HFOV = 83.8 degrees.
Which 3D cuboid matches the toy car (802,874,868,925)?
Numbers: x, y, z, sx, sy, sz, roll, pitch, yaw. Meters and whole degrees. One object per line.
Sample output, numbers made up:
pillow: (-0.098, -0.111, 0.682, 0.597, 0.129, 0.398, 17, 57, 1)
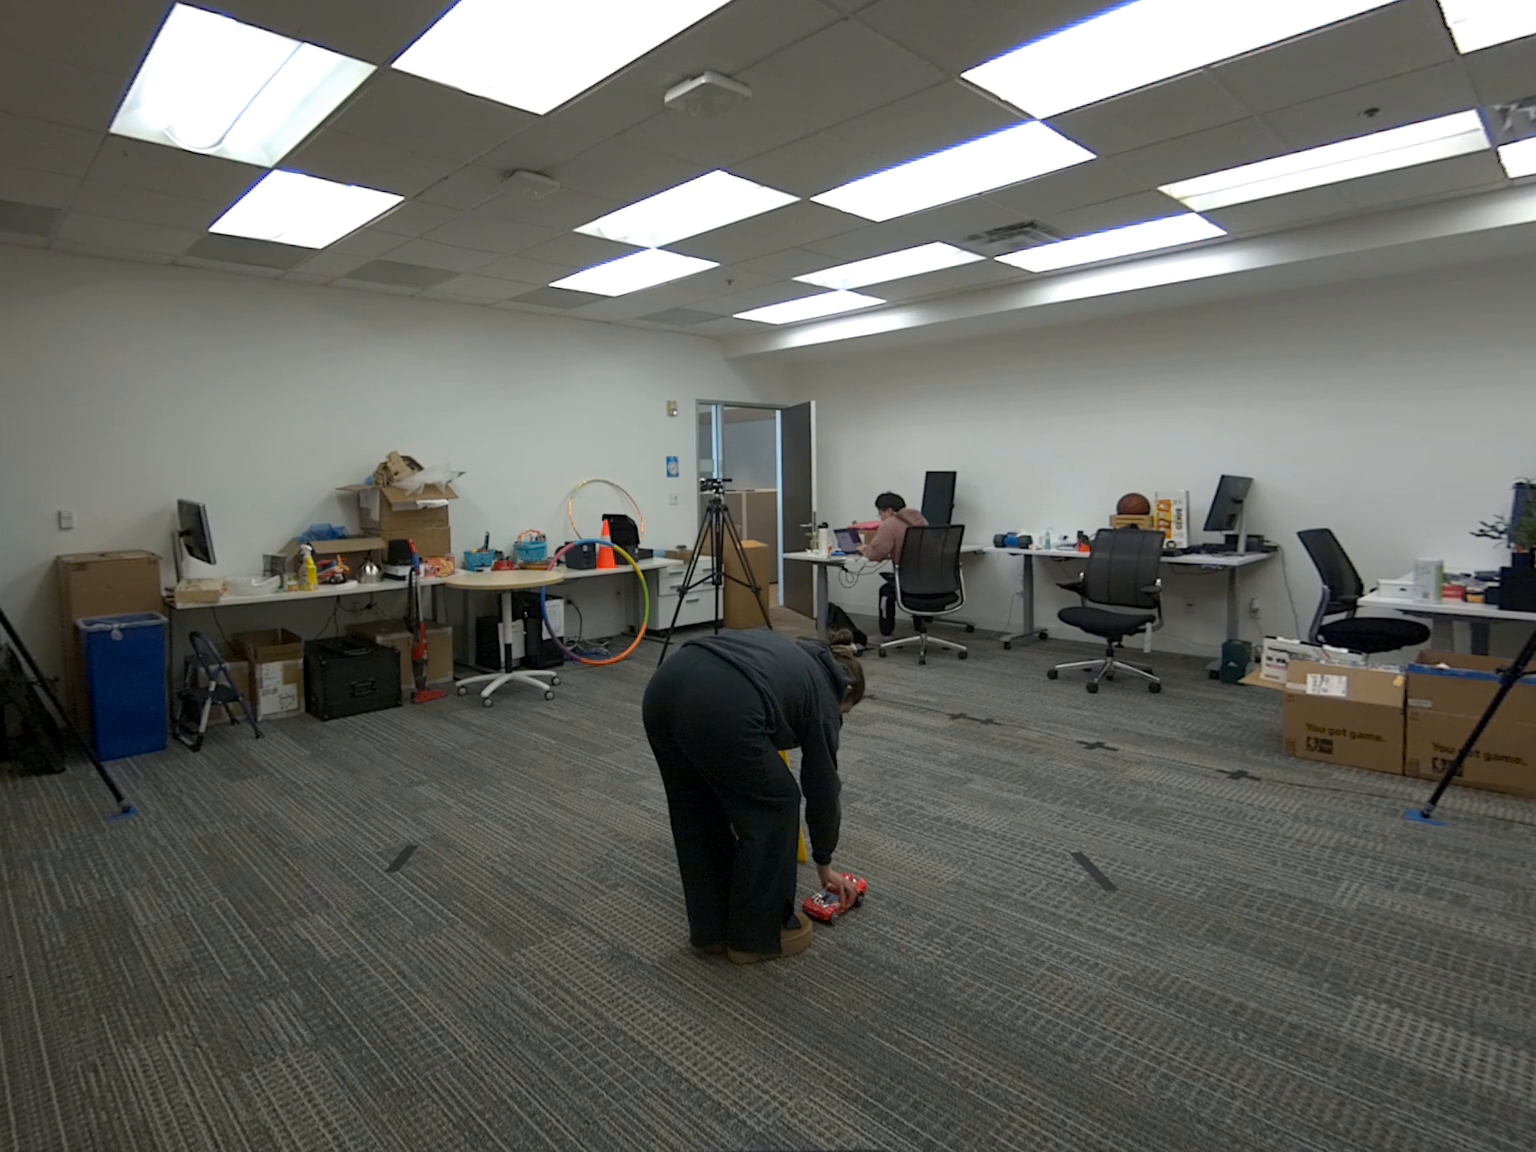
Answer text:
toy car: (0.228, 1.046, 2.768, 0.134, 0.082, 0.250, 6, 21, 41)
